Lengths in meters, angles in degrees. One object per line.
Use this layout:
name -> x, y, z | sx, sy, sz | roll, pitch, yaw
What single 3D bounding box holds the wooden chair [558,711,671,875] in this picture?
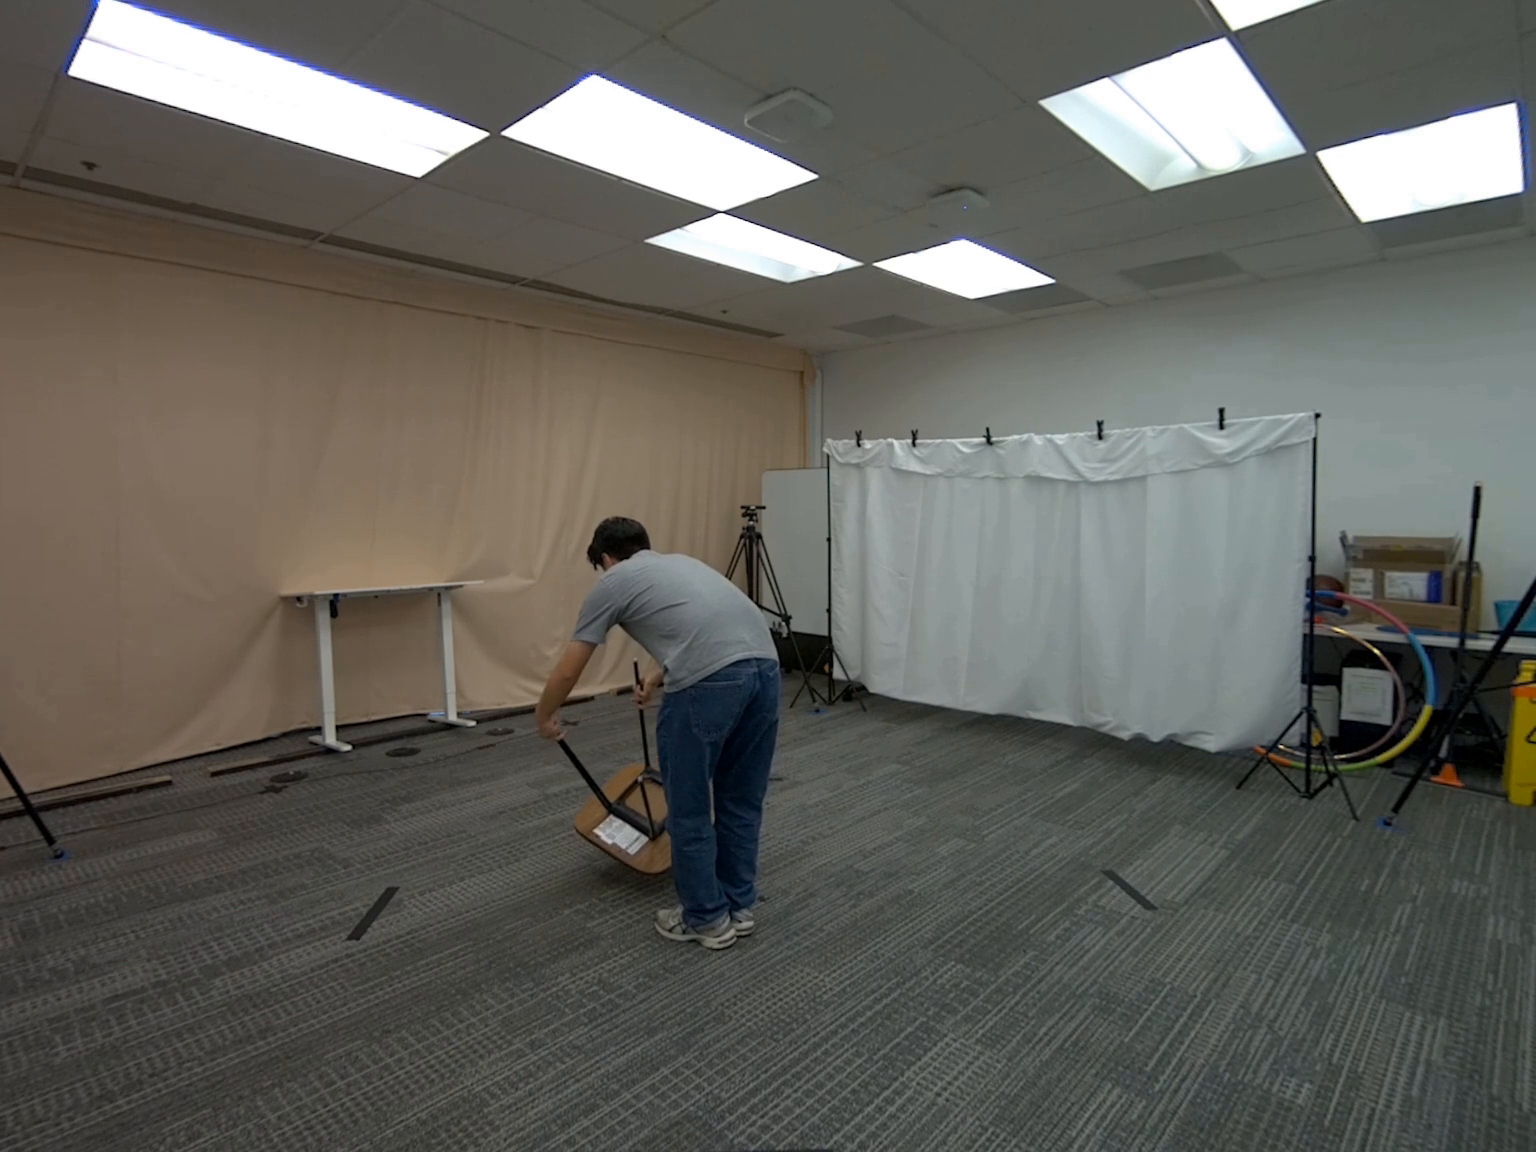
wooden chair -> -0.445, 0.855, 3.174 | 0.494, 0.859, 0.517 | 19, 43, 31
